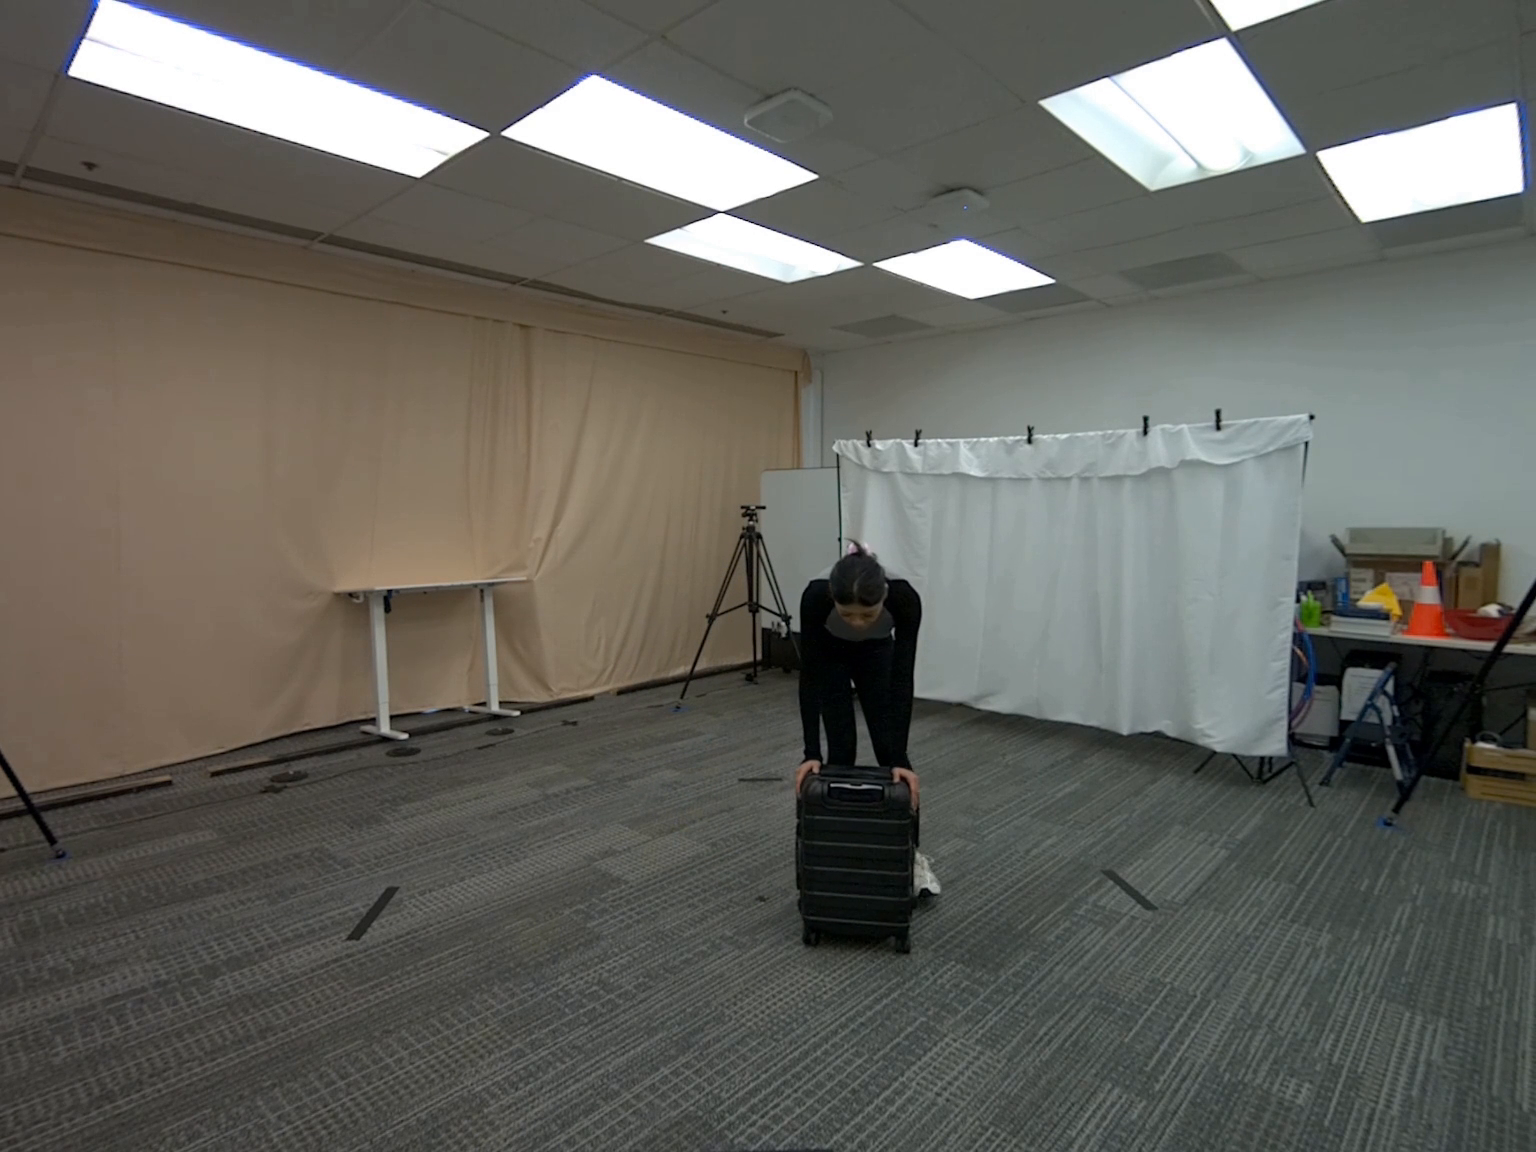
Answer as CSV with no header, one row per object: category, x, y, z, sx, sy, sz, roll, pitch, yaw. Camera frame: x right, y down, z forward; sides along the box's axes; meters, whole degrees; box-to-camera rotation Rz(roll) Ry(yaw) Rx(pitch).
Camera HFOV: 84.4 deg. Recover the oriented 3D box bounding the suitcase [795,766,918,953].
suitcase,0.283,0.896,2.718,0.379,0.548,0.247,1,5,7
